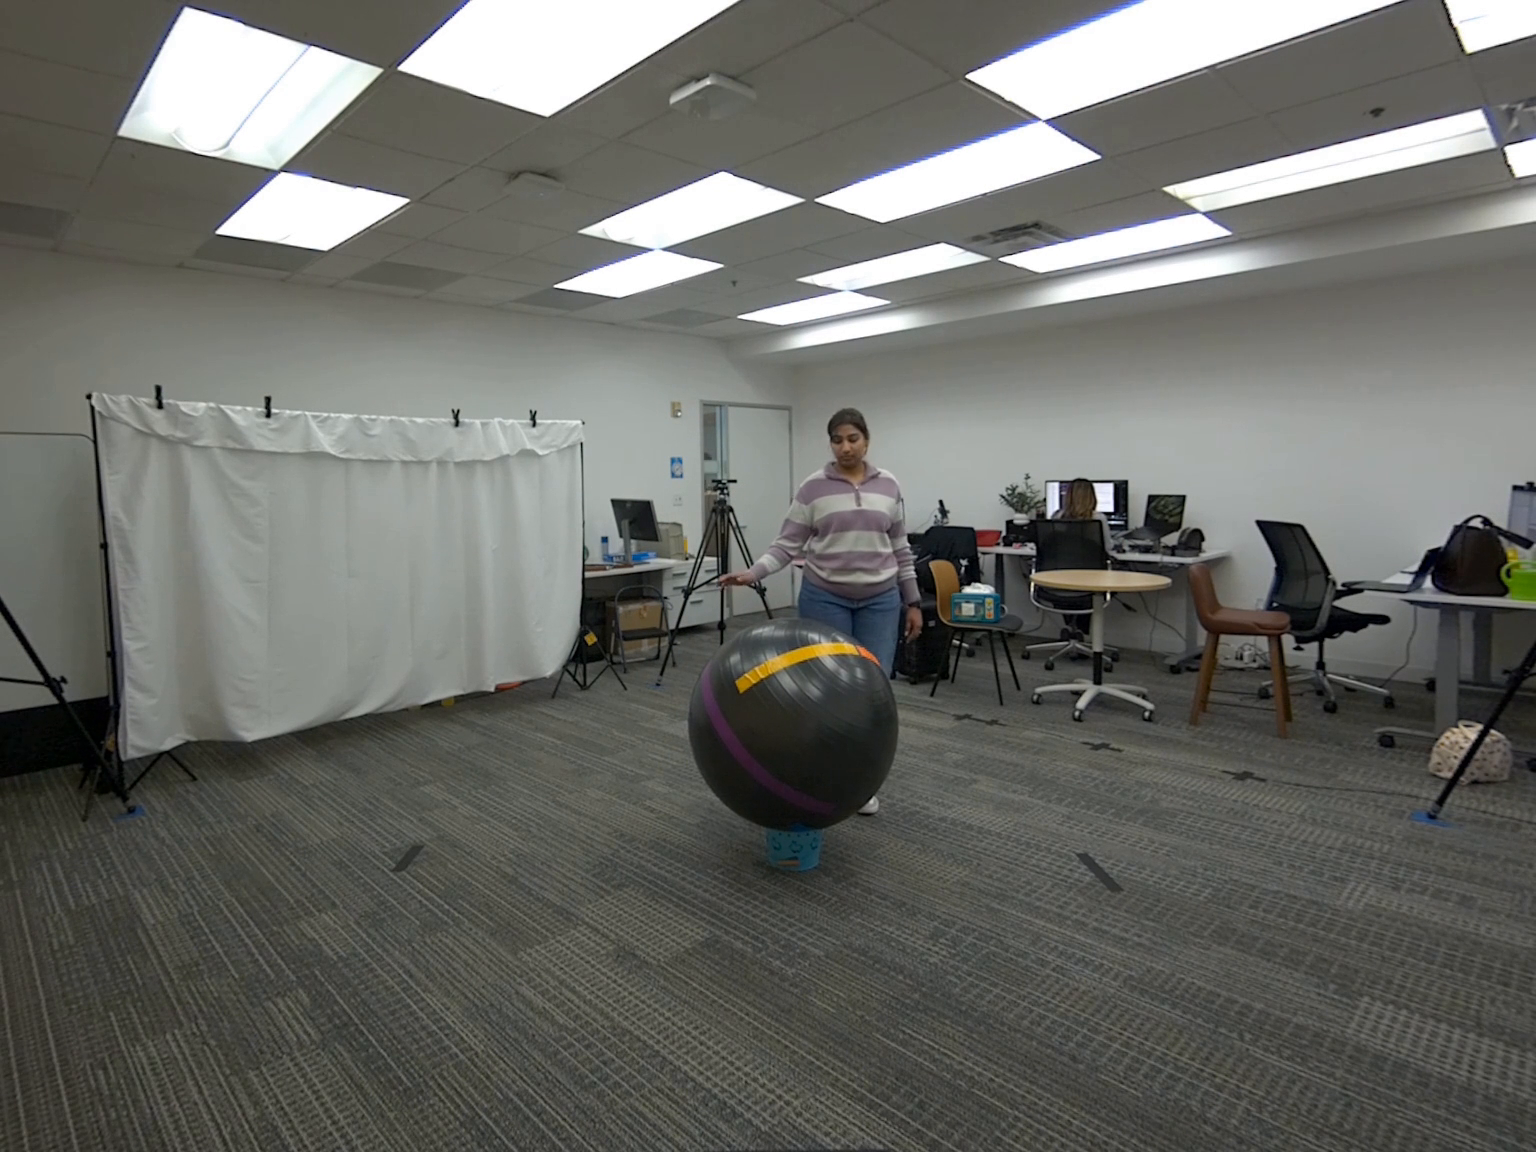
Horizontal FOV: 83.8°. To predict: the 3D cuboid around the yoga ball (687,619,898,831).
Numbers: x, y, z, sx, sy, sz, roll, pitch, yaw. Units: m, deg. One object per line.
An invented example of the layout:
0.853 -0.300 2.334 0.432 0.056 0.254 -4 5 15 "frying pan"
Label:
0.086 0.536 3.105 0.757 0.755 0.762 -1 5 -2 "yoga ball"
